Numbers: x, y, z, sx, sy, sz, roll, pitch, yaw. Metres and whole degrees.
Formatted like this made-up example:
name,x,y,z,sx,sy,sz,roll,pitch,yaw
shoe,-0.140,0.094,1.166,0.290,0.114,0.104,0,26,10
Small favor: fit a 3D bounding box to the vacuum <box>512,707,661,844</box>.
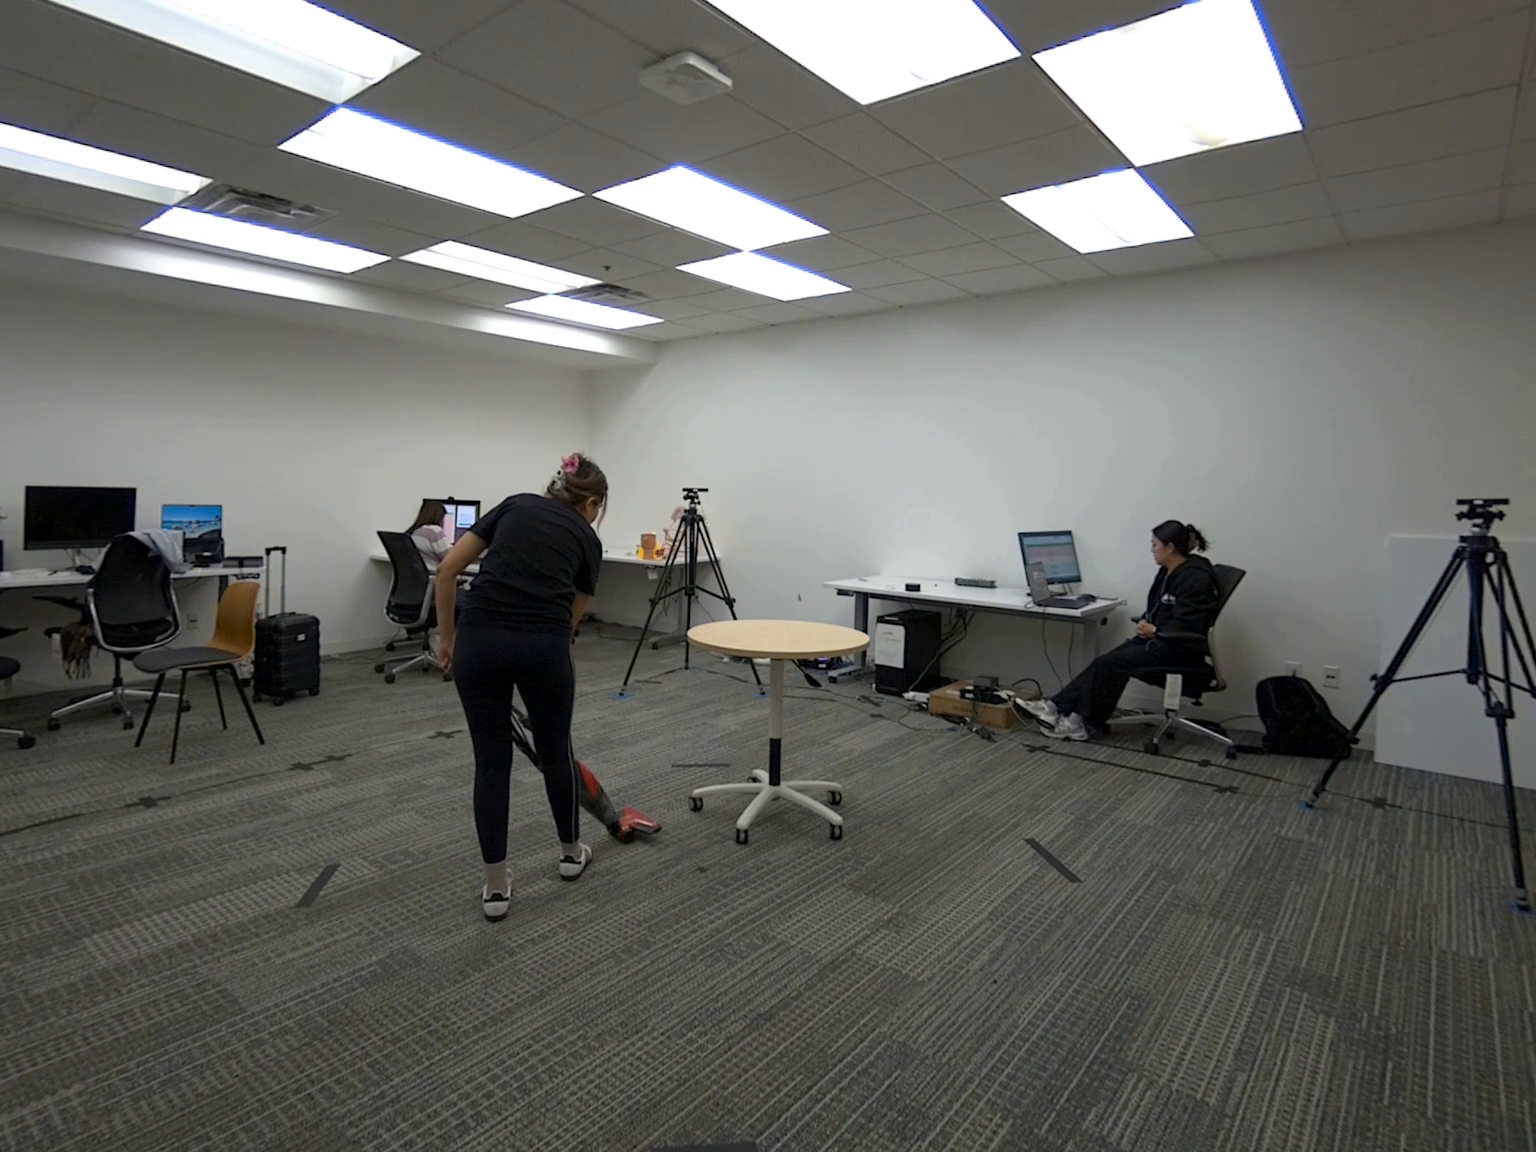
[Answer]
name,x,y,z,sx,sy,sz,roll,pitch,yaw
vacuum,-0.818,0.672,3.180,0.260,0.144,1.013,1,-41,51
